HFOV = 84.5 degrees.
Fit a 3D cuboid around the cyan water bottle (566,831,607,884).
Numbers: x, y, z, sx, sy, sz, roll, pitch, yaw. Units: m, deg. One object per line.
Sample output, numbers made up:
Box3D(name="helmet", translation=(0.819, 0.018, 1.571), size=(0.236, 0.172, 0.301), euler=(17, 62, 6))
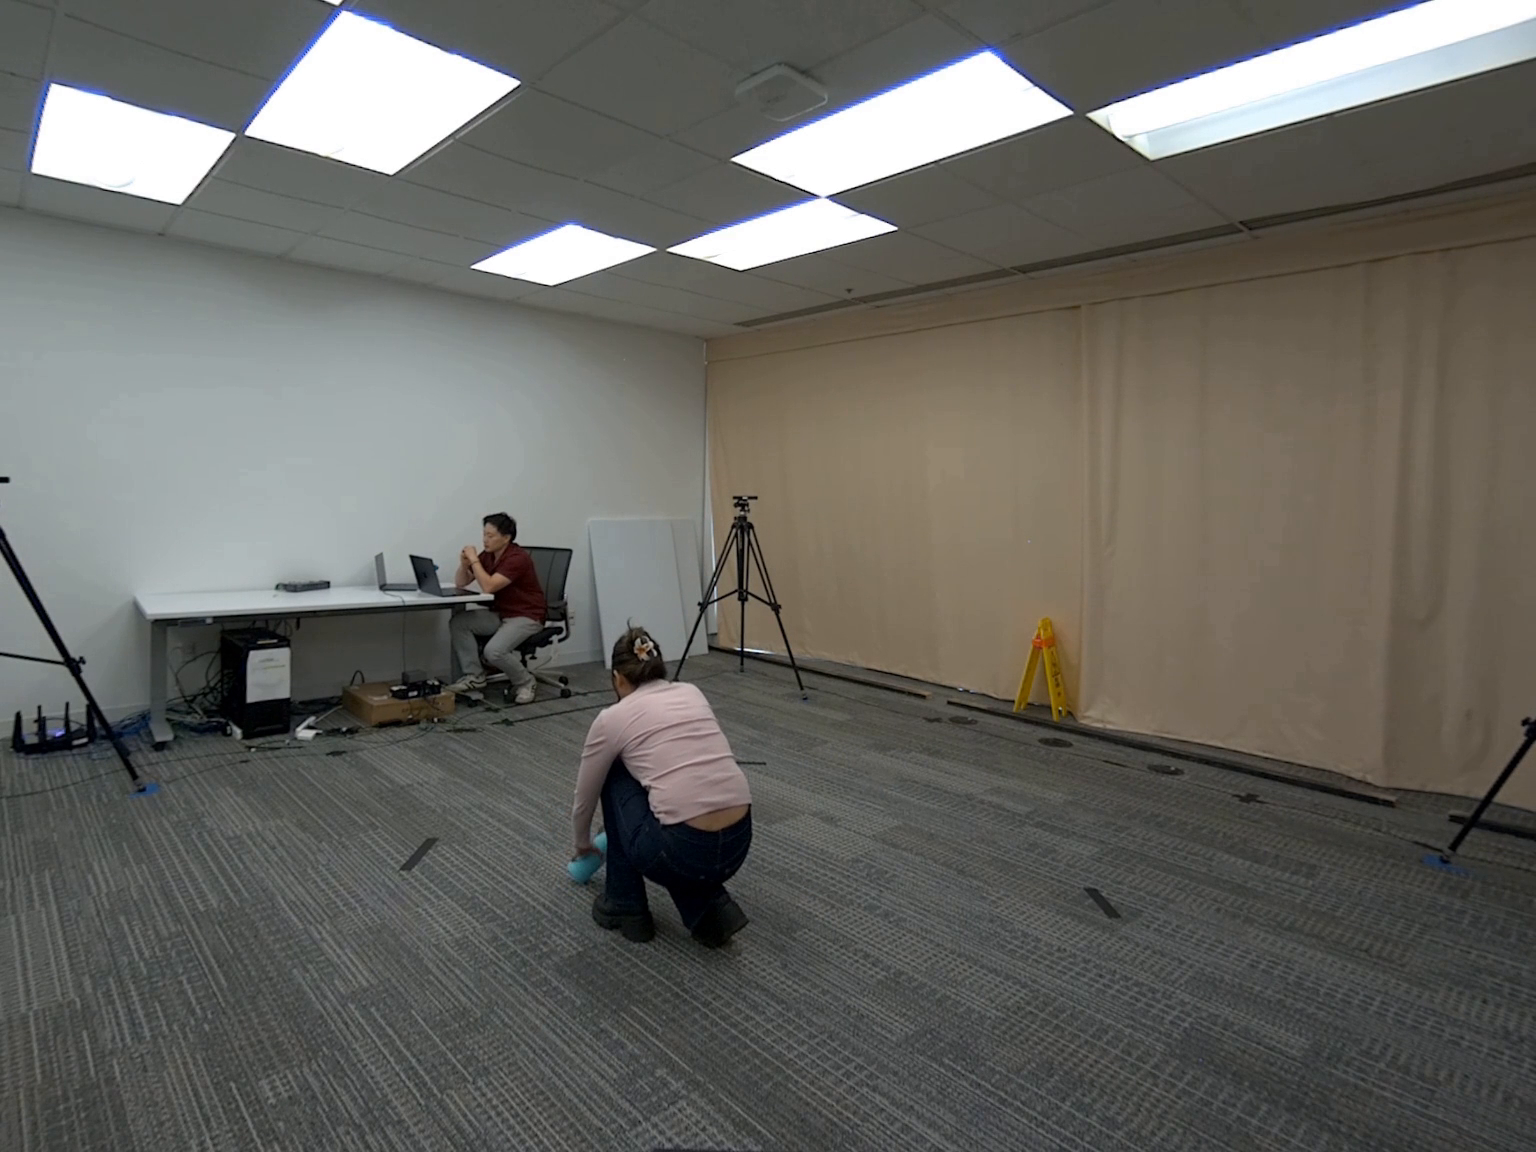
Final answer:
Box3D(name="cyan water bottle", translation=(-0.599, 0.988, 3.022), size=(0.283, 0.091, 0.093), euler=(-42, 12, -7))
